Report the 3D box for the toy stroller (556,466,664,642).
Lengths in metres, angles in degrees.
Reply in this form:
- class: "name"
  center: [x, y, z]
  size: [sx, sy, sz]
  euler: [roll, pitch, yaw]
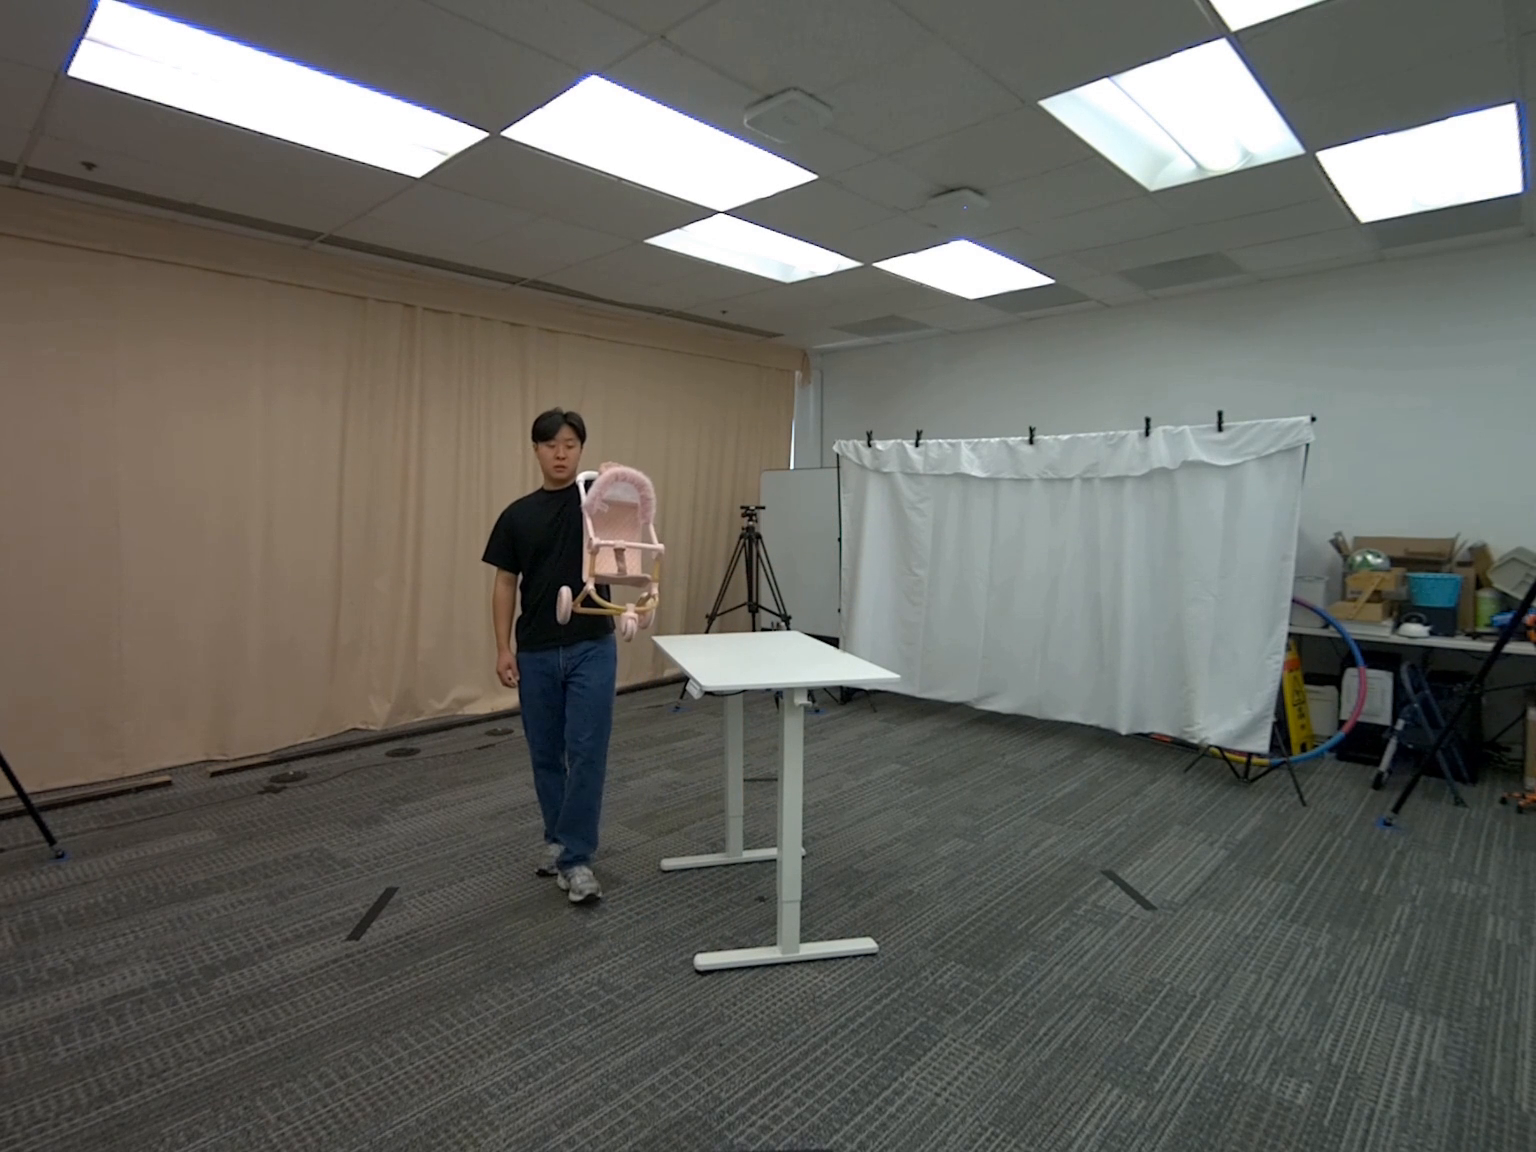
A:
- class: "toy stroller"
  center: [-0.419, -0.073, 2.411]
  size: [0.275, 0.538, 0.347]
  euler: [6, -11, -21]
